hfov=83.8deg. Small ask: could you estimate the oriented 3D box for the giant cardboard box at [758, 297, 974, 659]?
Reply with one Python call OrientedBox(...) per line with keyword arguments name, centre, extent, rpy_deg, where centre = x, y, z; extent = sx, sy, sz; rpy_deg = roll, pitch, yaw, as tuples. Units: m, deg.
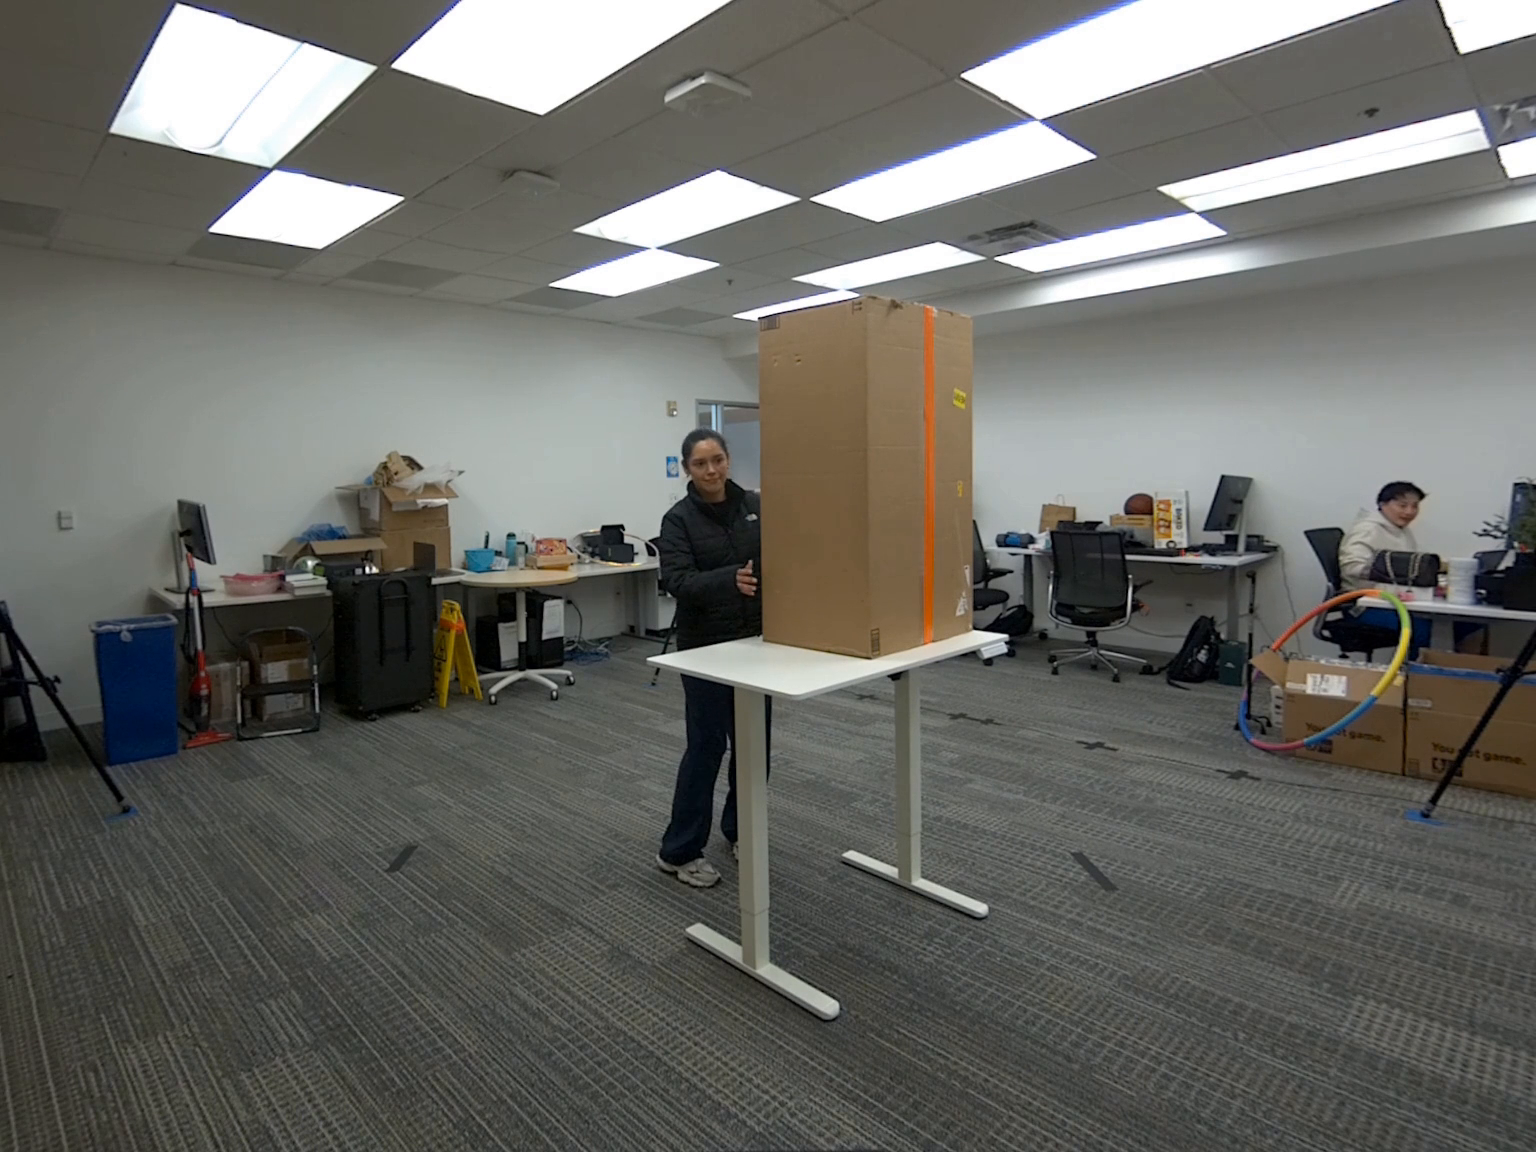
OrientedBox(name="giant cardboard box", centre=(0.323, -0.312, 2.738), extent=(0.439, 1.022, 0.562), rpy_deg=(3, 6, 44))
